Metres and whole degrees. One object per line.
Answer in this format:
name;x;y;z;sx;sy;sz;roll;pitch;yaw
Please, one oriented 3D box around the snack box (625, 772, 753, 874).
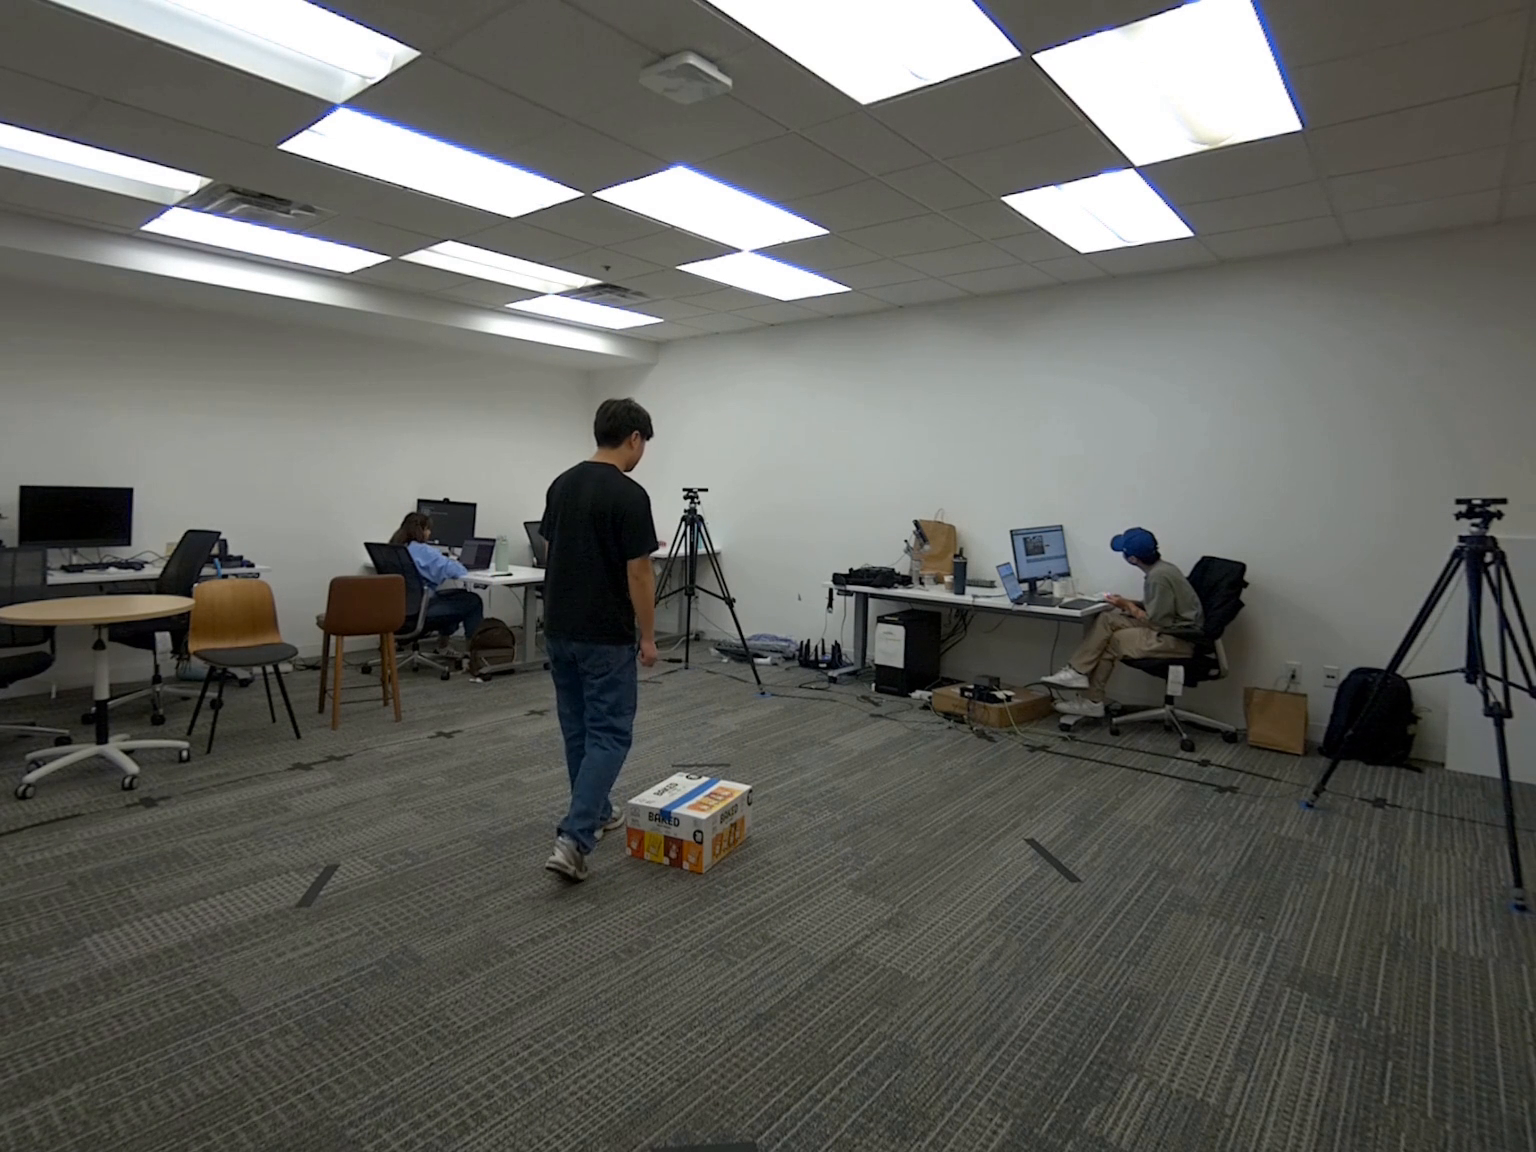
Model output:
snack box;-0.310;0.946;3.316;0.349;0.205;0.396;3;6;26
